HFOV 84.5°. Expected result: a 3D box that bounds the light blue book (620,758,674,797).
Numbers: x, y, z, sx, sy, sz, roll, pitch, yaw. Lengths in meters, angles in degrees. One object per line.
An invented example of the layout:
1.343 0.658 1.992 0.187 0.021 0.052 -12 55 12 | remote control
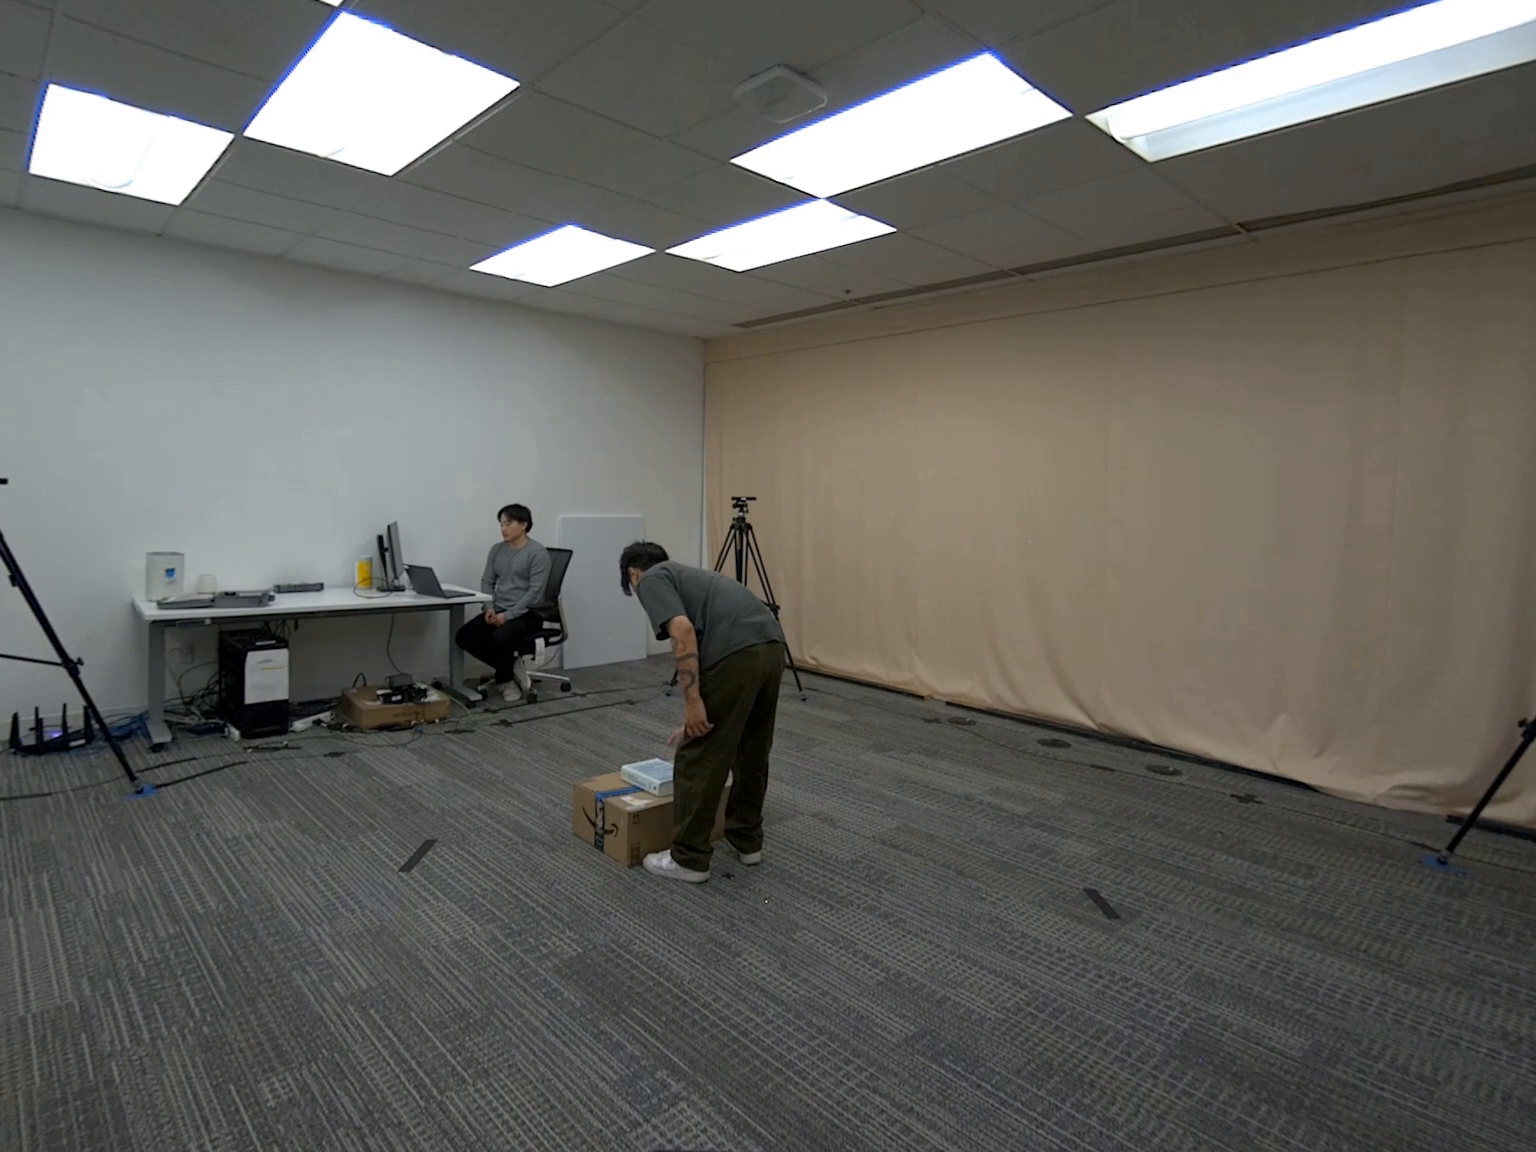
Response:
-0.458 0.824 3.476 0.187 0.059 0.268 -2 7 -43 | light blue book
